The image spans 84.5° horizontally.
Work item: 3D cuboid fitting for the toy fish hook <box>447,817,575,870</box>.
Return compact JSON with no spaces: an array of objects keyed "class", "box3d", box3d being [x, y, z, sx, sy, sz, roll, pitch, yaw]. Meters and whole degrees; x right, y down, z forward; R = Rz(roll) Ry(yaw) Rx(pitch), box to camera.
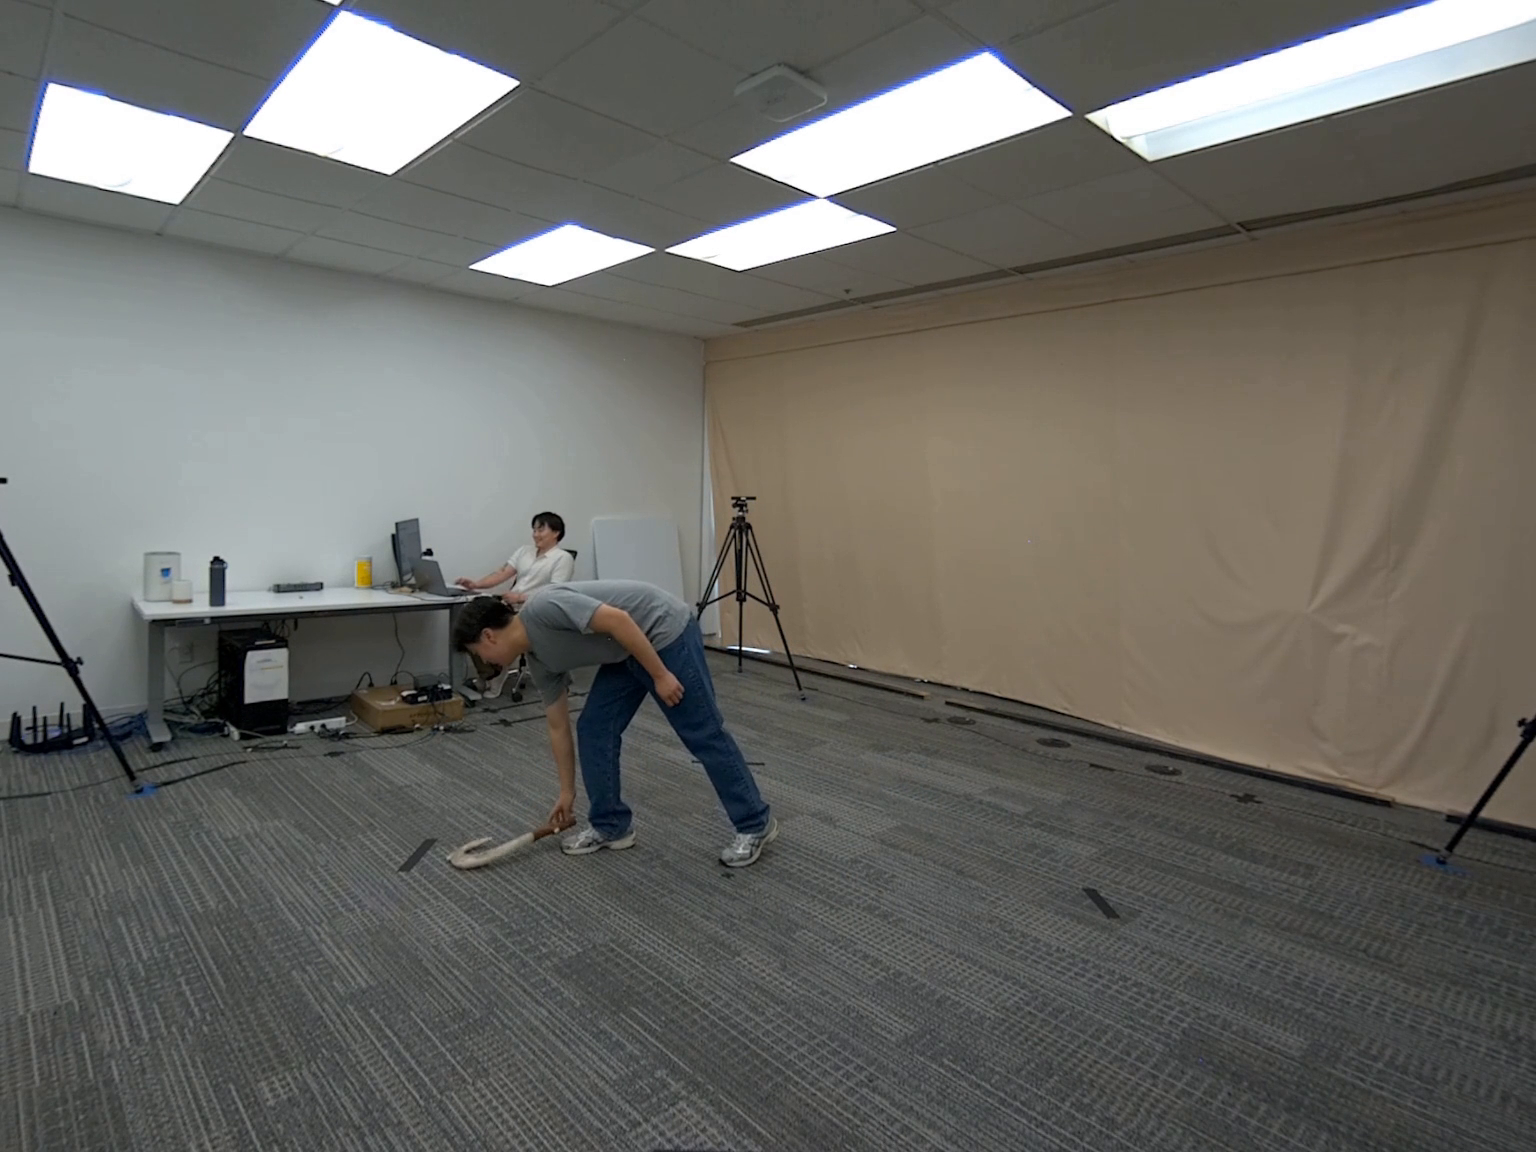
[{"class":"toy fish hook","box3d":[-1.006,1.024,3.283,0.496,0.048,0.230,-9,12,-40]}]
